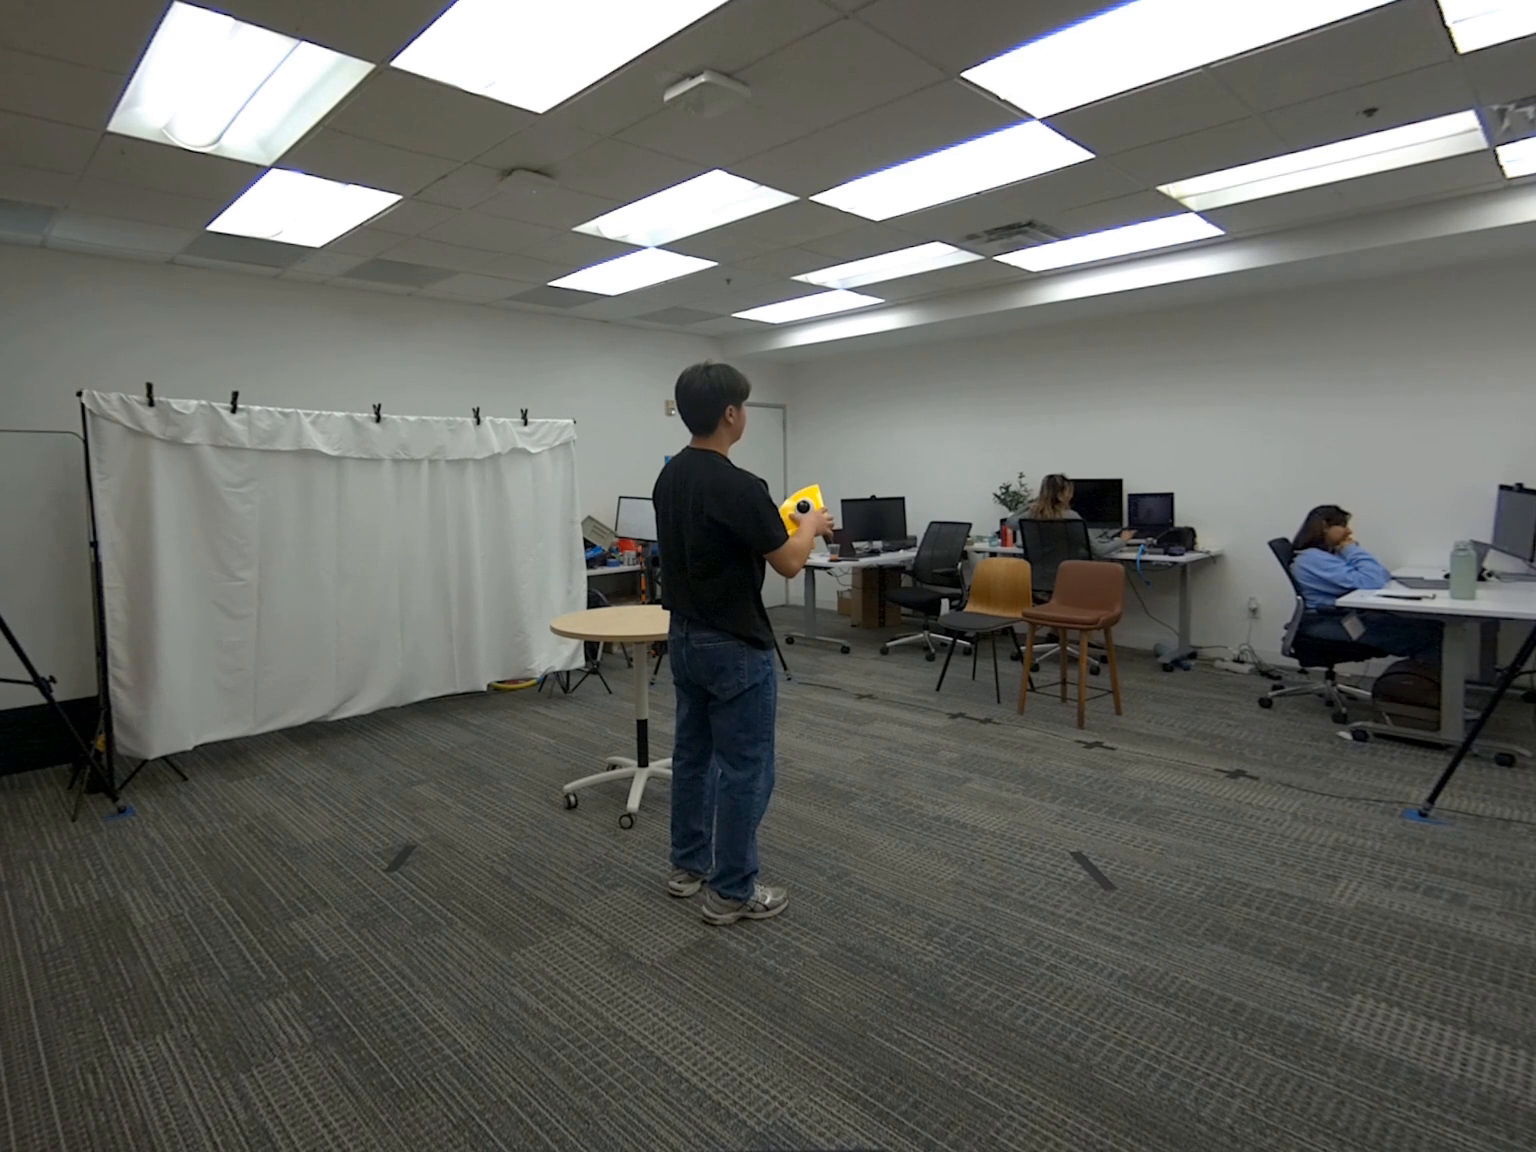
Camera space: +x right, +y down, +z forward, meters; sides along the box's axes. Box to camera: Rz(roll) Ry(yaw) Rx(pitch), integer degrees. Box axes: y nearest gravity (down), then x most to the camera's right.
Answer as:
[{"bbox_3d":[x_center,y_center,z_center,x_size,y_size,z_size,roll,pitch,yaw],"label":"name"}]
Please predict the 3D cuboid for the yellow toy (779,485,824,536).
[{"bbox_3d":[0.100,-0.223,2.977,0.188,0.231,0.209,13,-3,-22],"label":"yellow toy"}]
